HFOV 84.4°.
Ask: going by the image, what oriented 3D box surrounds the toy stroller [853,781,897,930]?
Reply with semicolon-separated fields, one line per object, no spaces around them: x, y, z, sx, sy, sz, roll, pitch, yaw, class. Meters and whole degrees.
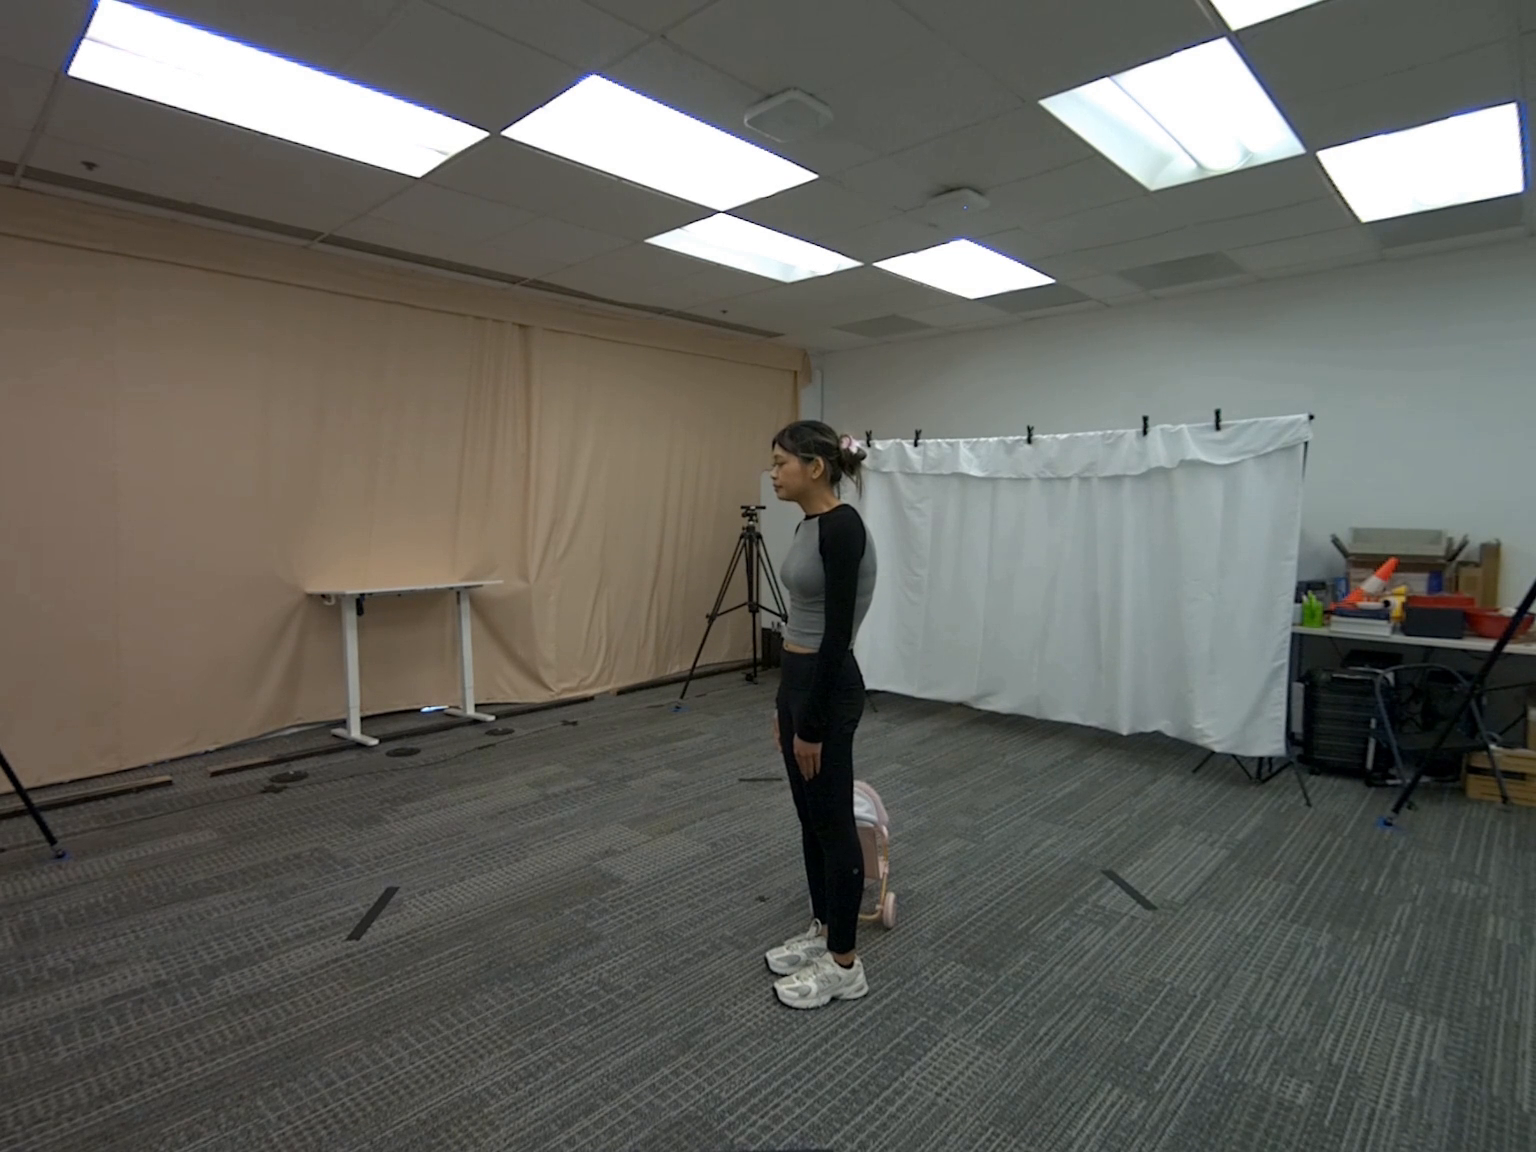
0.303;0.928;2.867;0.288;0.528;0.338;1;20;20;toy stroller
